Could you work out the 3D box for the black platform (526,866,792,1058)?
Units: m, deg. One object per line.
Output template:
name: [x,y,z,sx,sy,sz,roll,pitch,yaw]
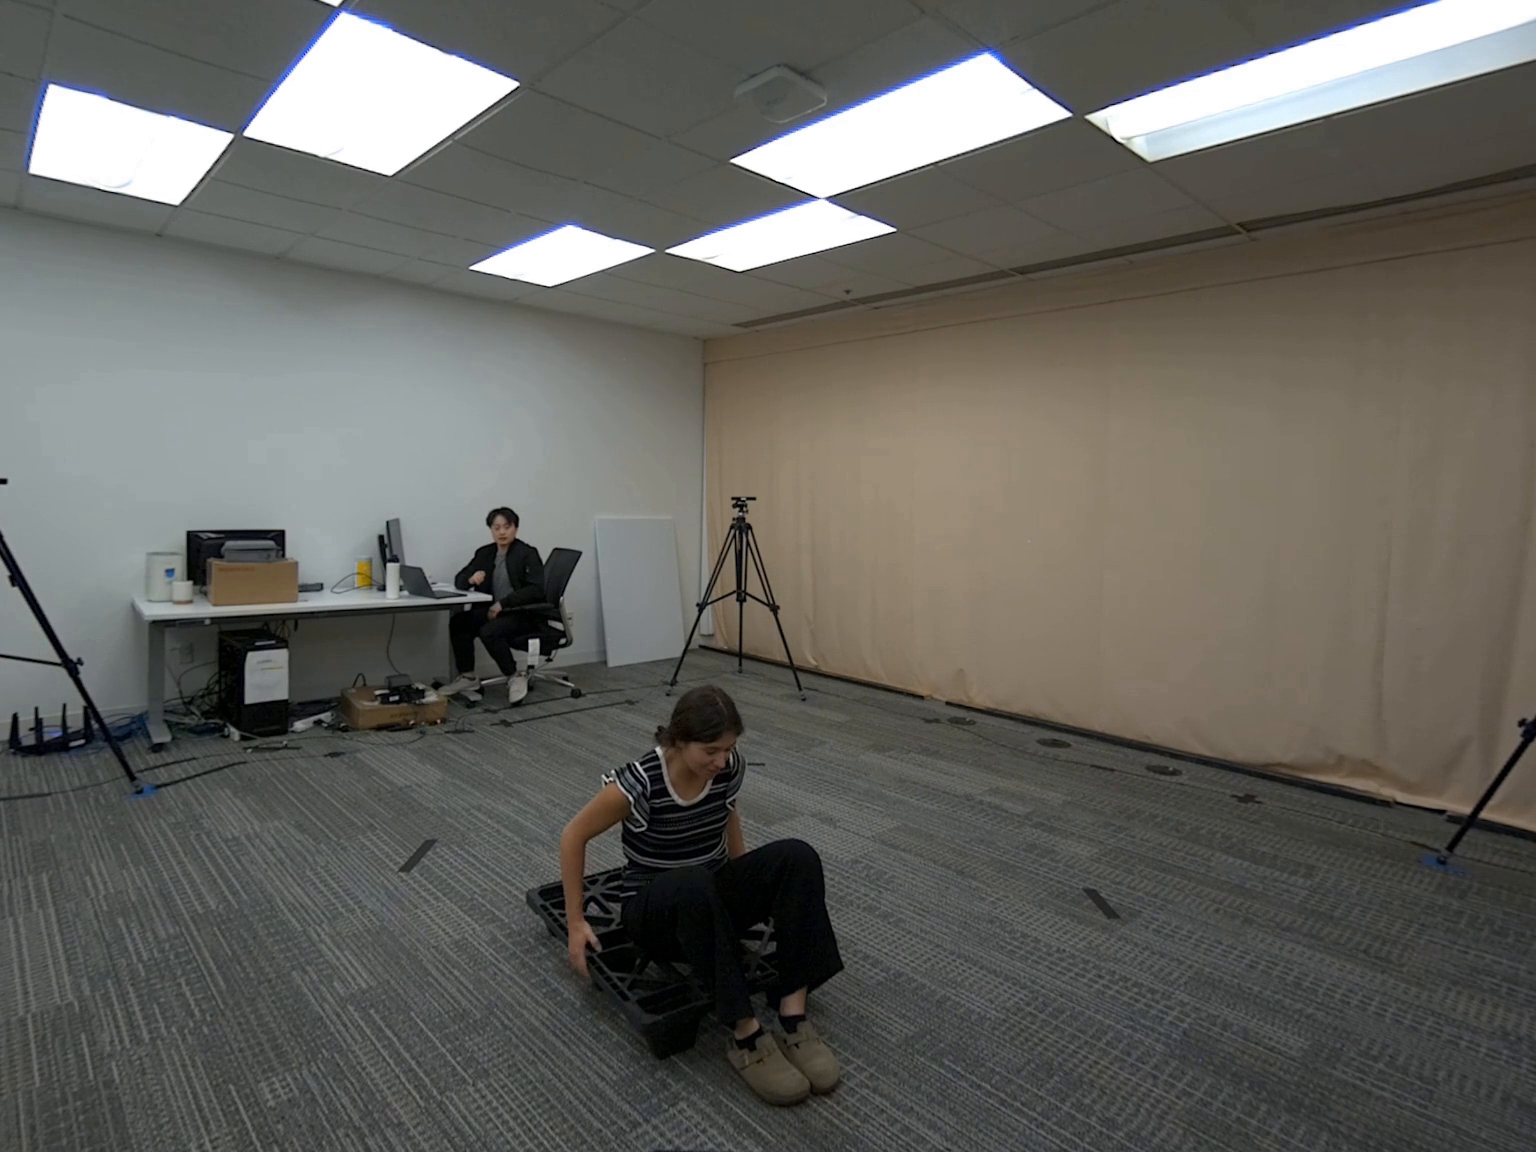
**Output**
black platform: [-0.306,1.090,2.506,0.592,0.143,0.826,-4,7,-35]
